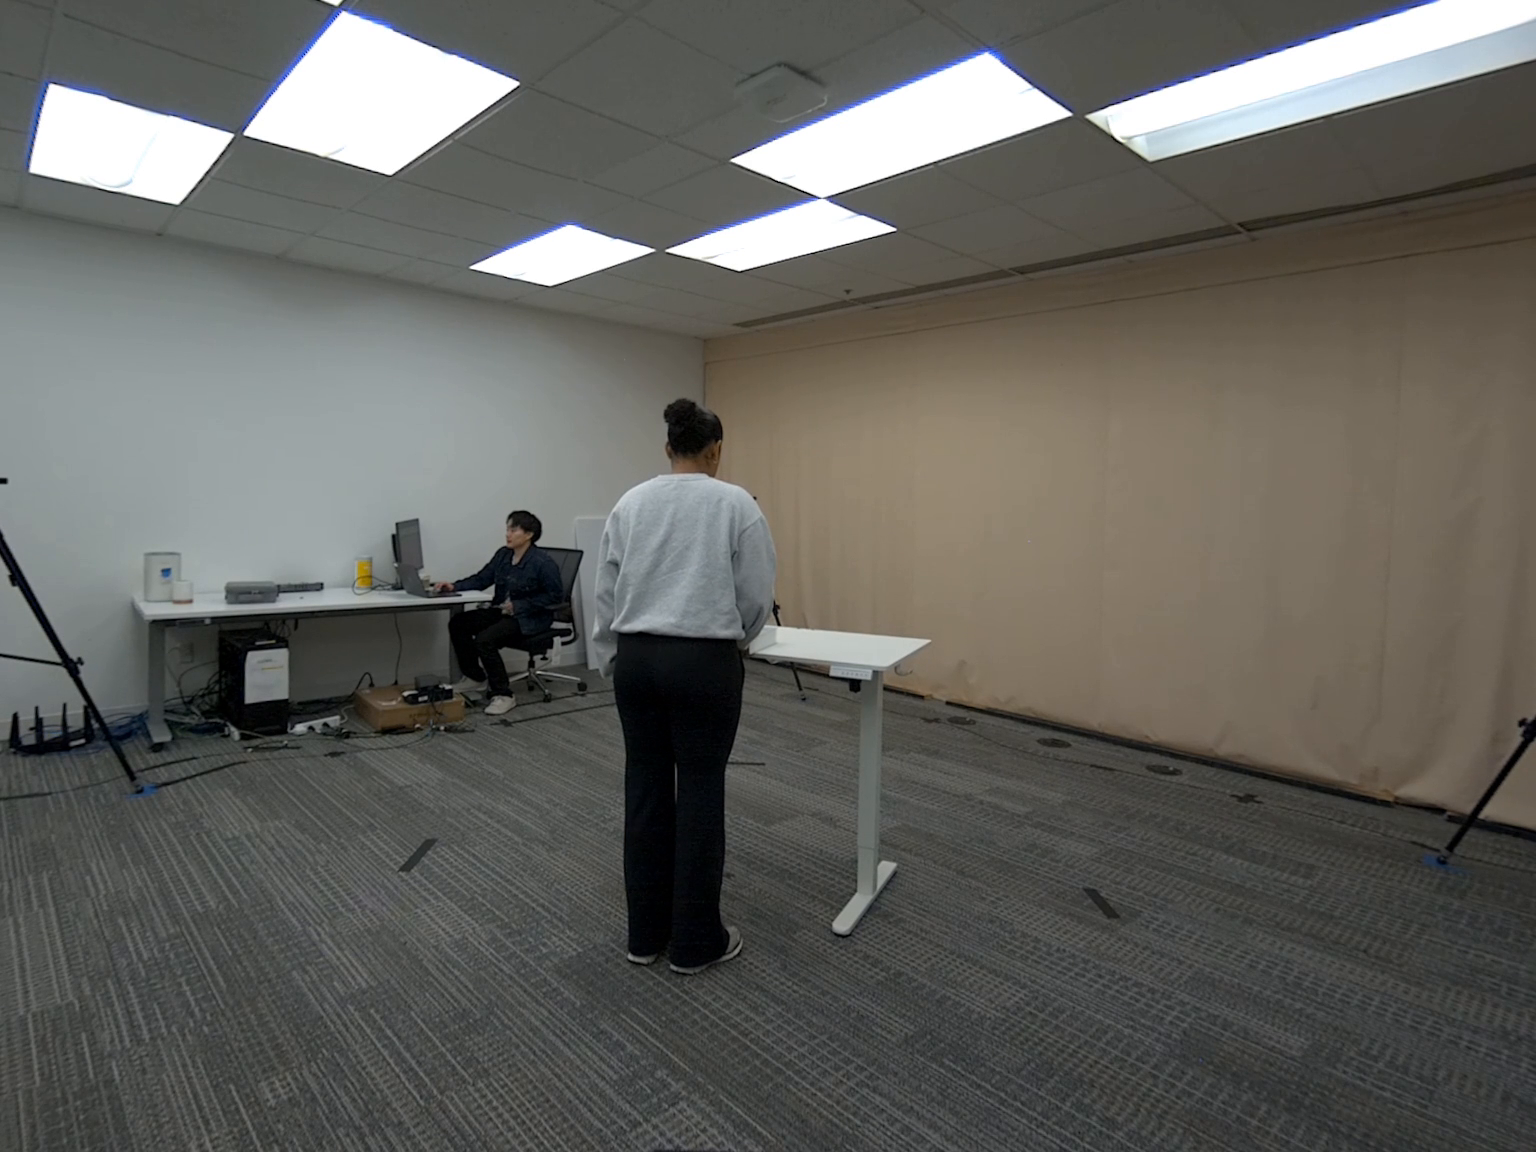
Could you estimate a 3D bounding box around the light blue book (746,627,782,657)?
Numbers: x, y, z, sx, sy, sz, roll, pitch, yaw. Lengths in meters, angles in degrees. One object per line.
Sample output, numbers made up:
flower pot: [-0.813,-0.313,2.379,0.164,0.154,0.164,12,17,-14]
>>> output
light blue book: [-0.089,0.217,2.886,0.194,0.059,0.257,3,5,21]
